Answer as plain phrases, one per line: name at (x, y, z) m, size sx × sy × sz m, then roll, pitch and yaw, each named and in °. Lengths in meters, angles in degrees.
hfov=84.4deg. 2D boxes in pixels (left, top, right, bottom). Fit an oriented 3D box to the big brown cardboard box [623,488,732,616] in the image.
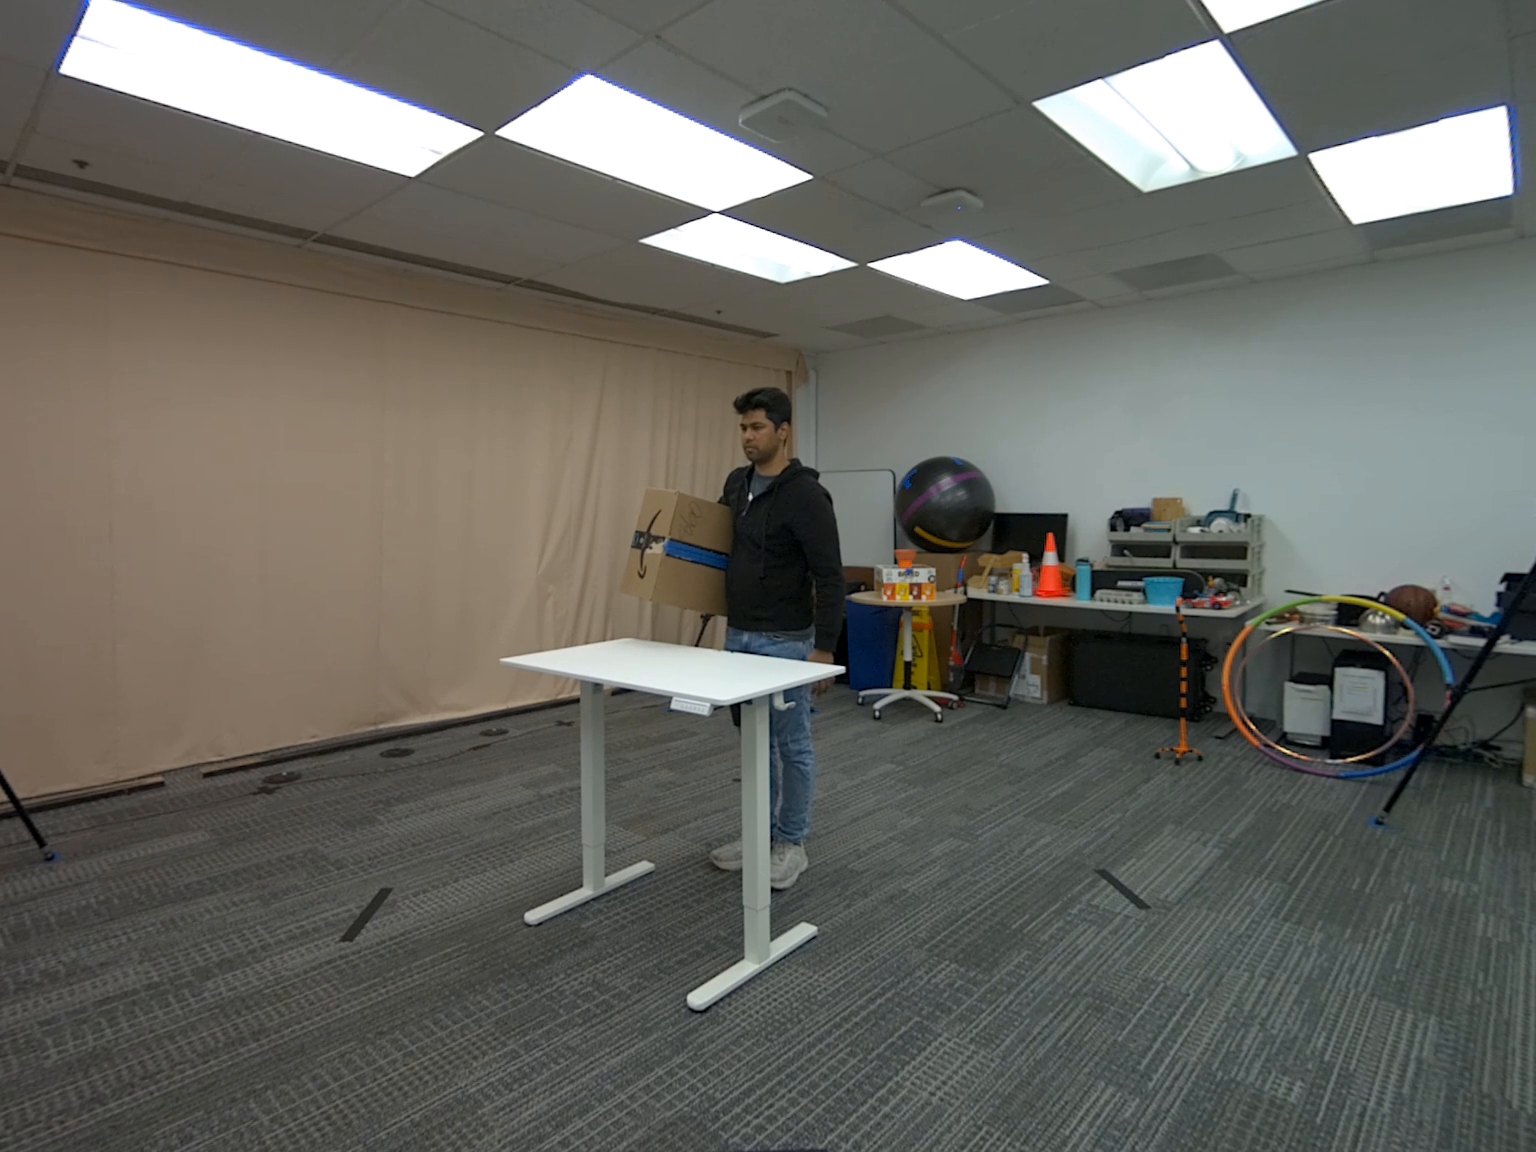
big brown cardboard box at (-0.239, -0.065, 3.326) m, size 0.569 × 0.418 × 0.241 m, roll 15°, pitch -3°, yaw -39°
